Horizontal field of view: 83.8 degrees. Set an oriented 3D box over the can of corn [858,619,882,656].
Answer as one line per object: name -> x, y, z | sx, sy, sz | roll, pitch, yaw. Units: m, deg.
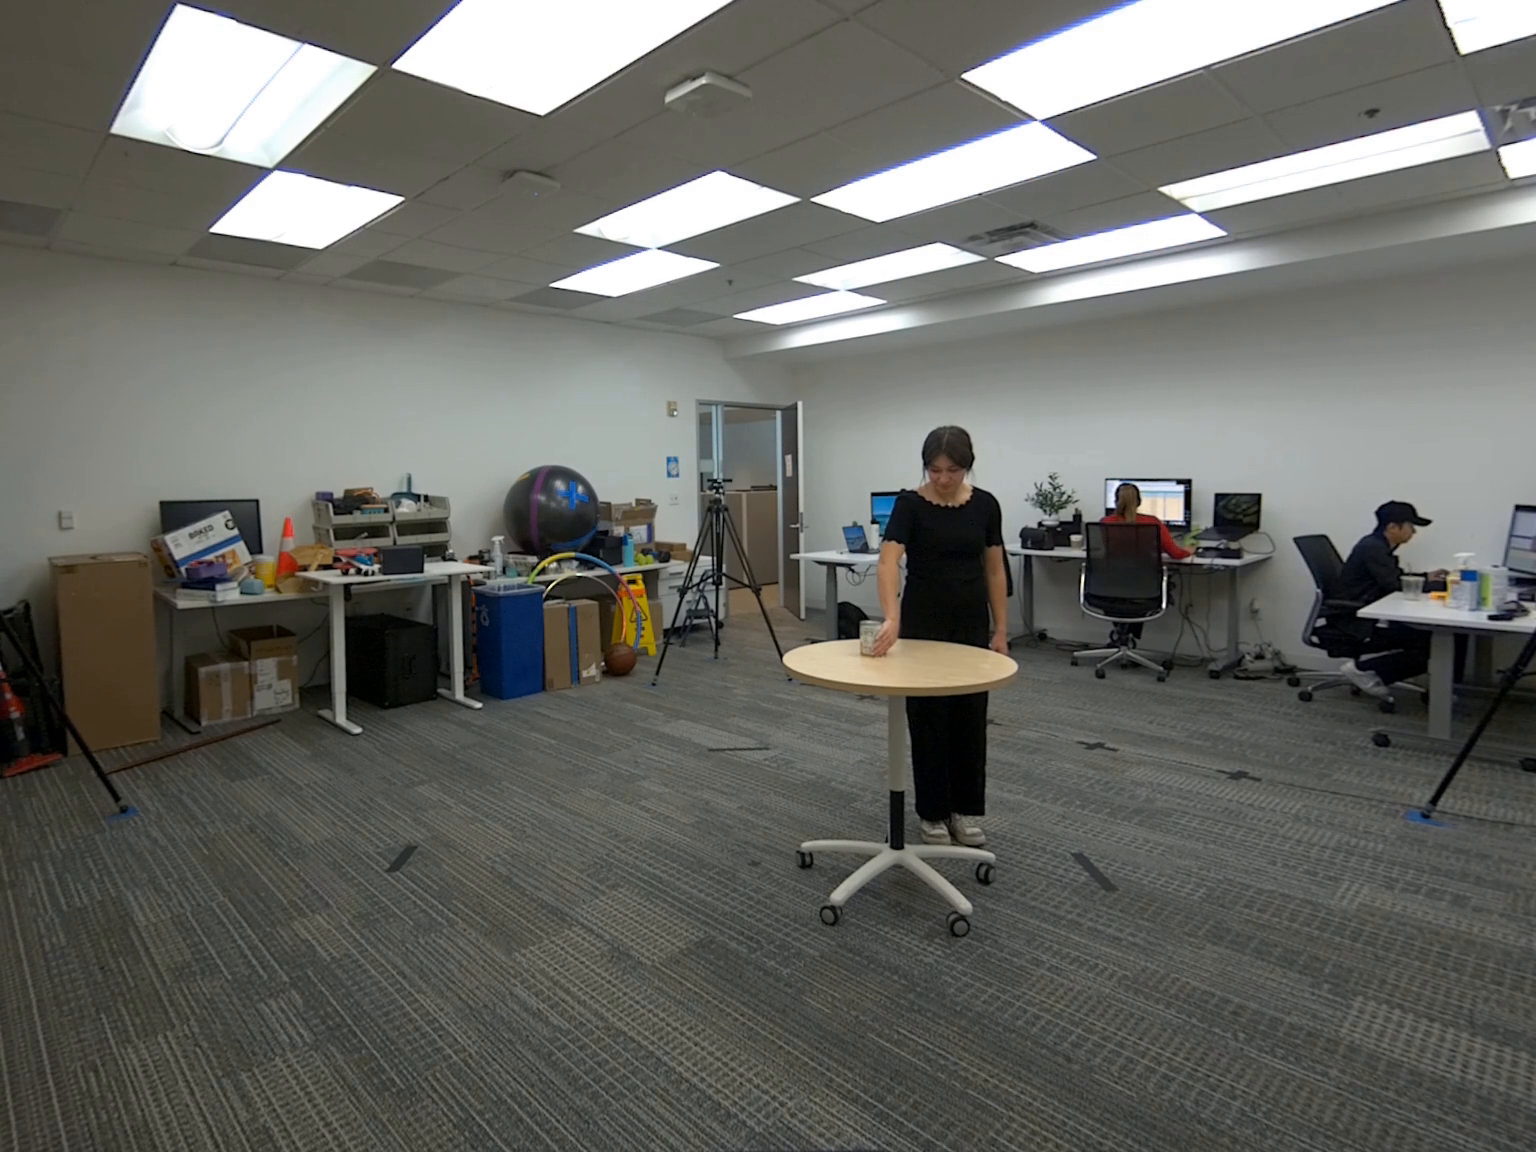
can of corn -> 0.364, 0.216, 2.943 | 0.074, 0.111, 0.074 | 0, 4, -2
